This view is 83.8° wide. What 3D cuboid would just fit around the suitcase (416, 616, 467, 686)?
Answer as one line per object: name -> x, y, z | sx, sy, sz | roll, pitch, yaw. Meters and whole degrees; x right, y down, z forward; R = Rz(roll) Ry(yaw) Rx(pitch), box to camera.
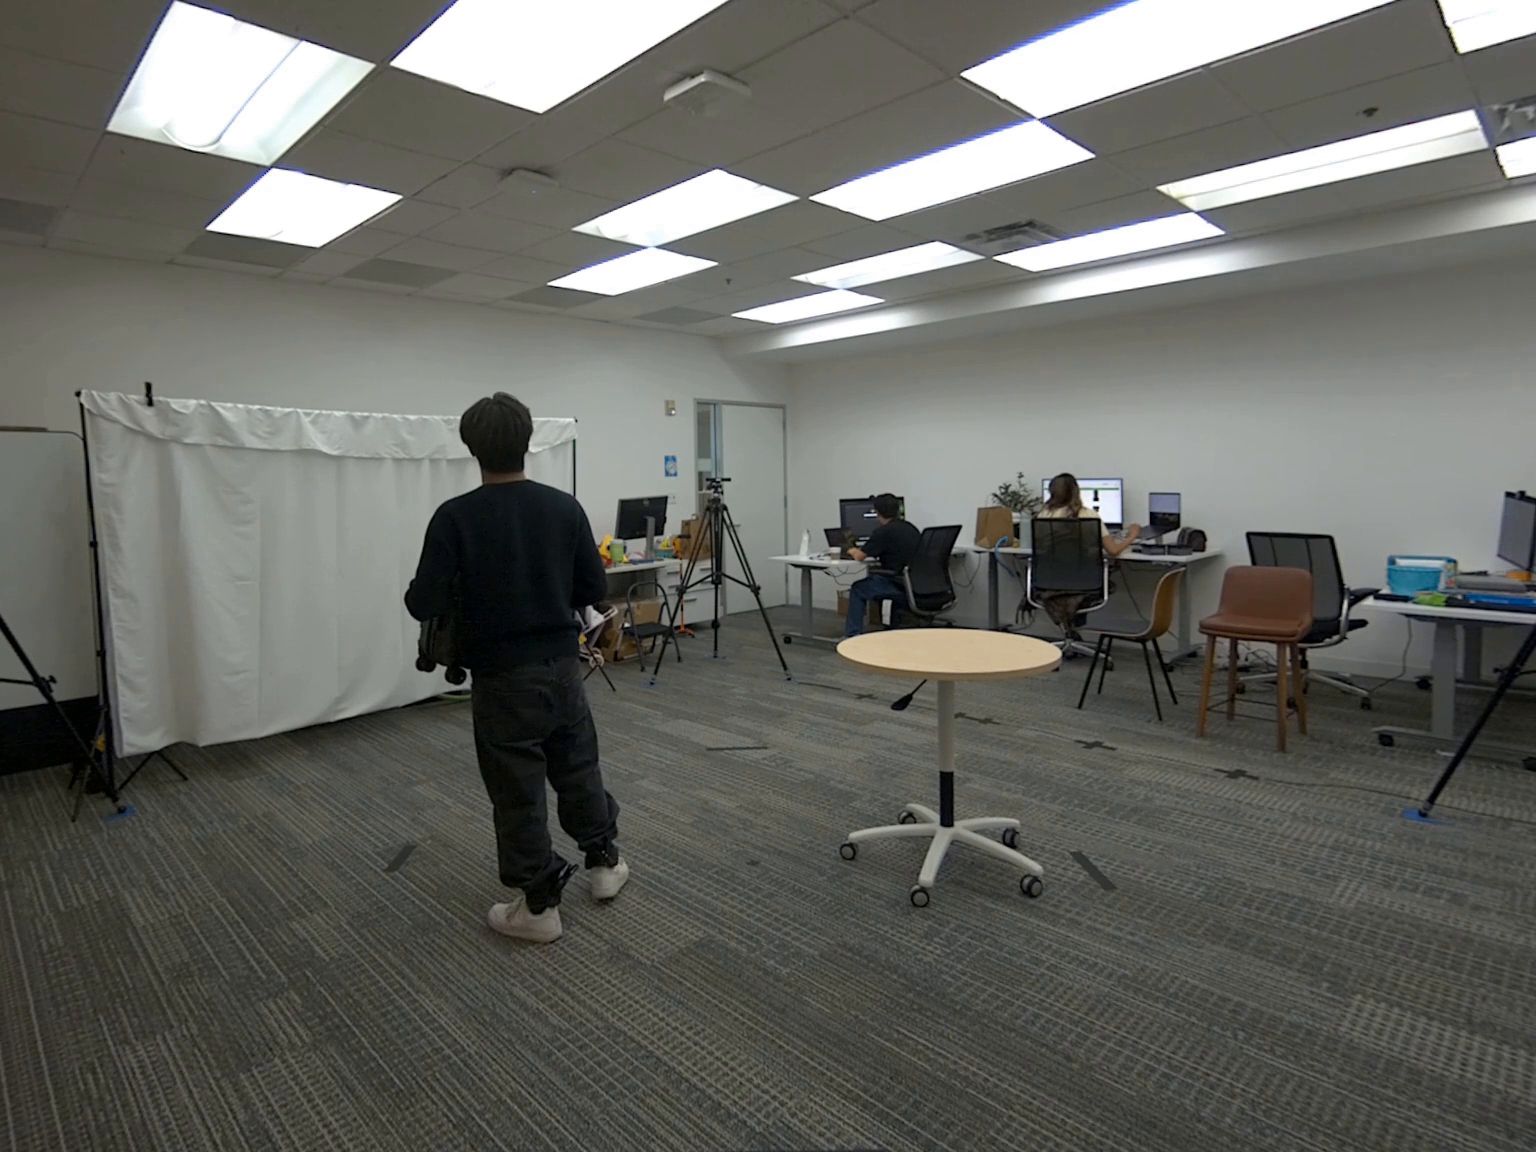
suitcase -> -0.920, 0.057, 2.825 | 0.256, 0.550, 0.363 | 4, -1, 45
